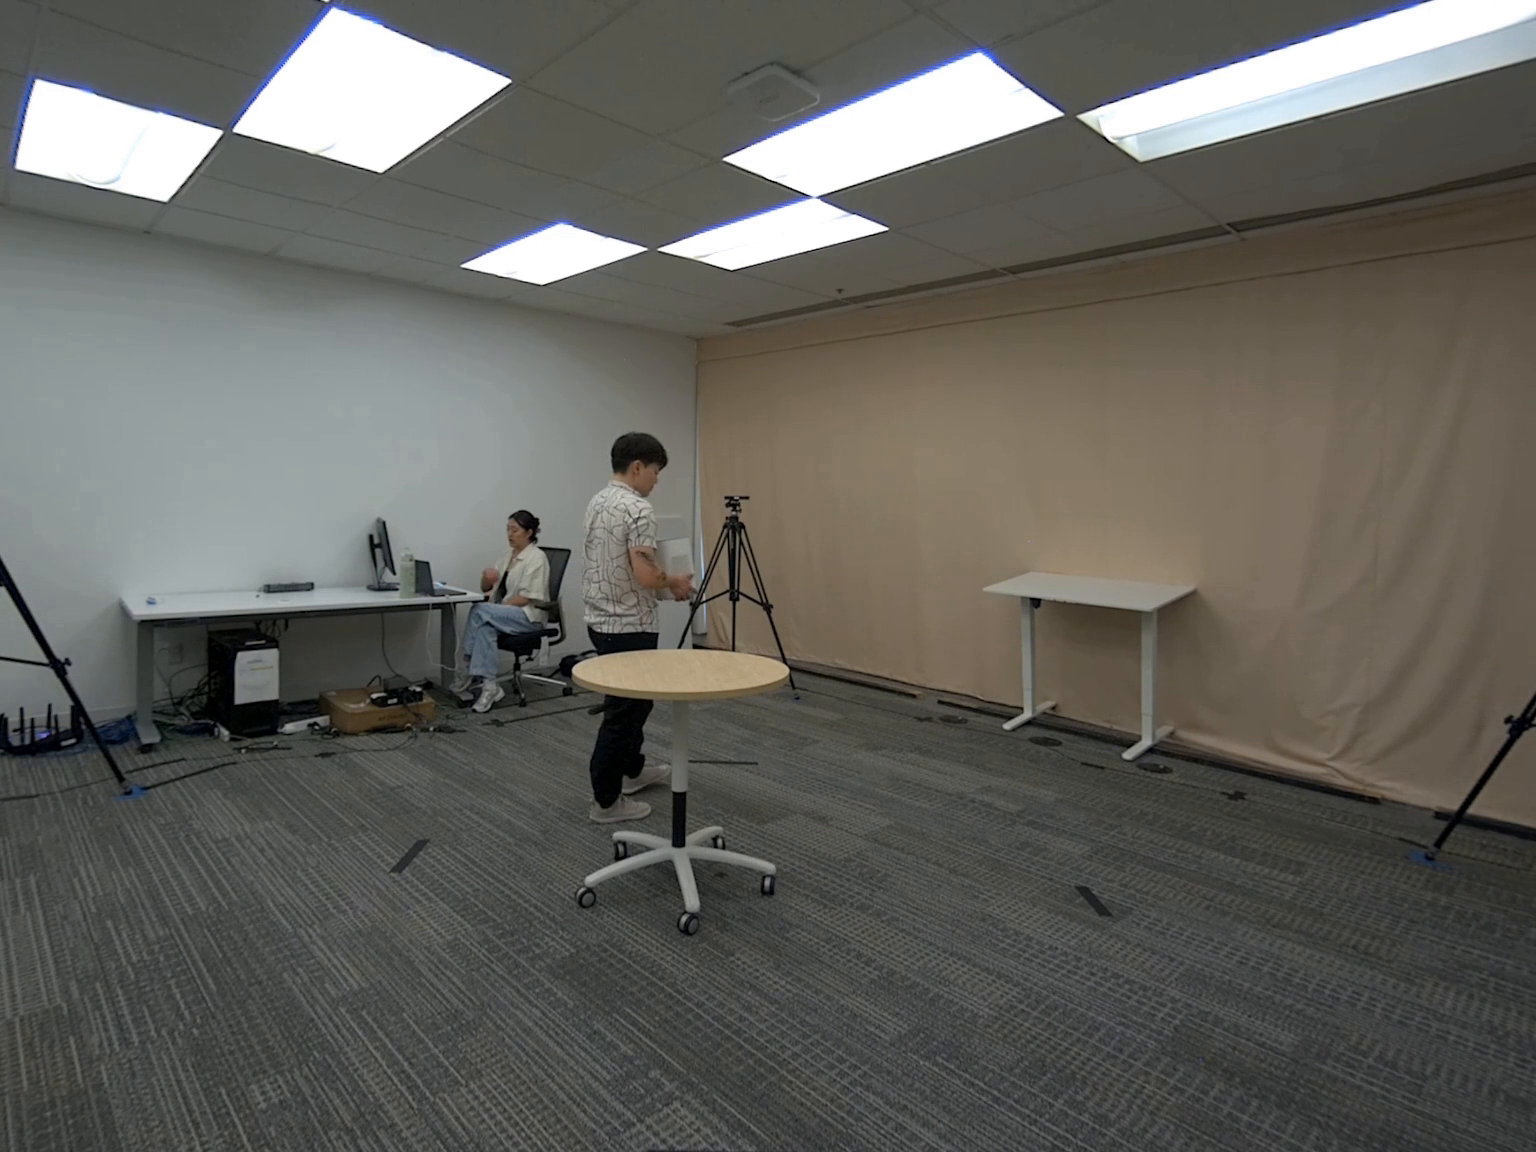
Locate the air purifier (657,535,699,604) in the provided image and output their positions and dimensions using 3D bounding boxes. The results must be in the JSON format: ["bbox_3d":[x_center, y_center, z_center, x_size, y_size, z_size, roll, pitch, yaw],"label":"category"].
[{"bbox_3d":[-0.443,-0.036,3.730,0.168,0.264,0.175,-12,8,-35],"label":"air purifier"}]
